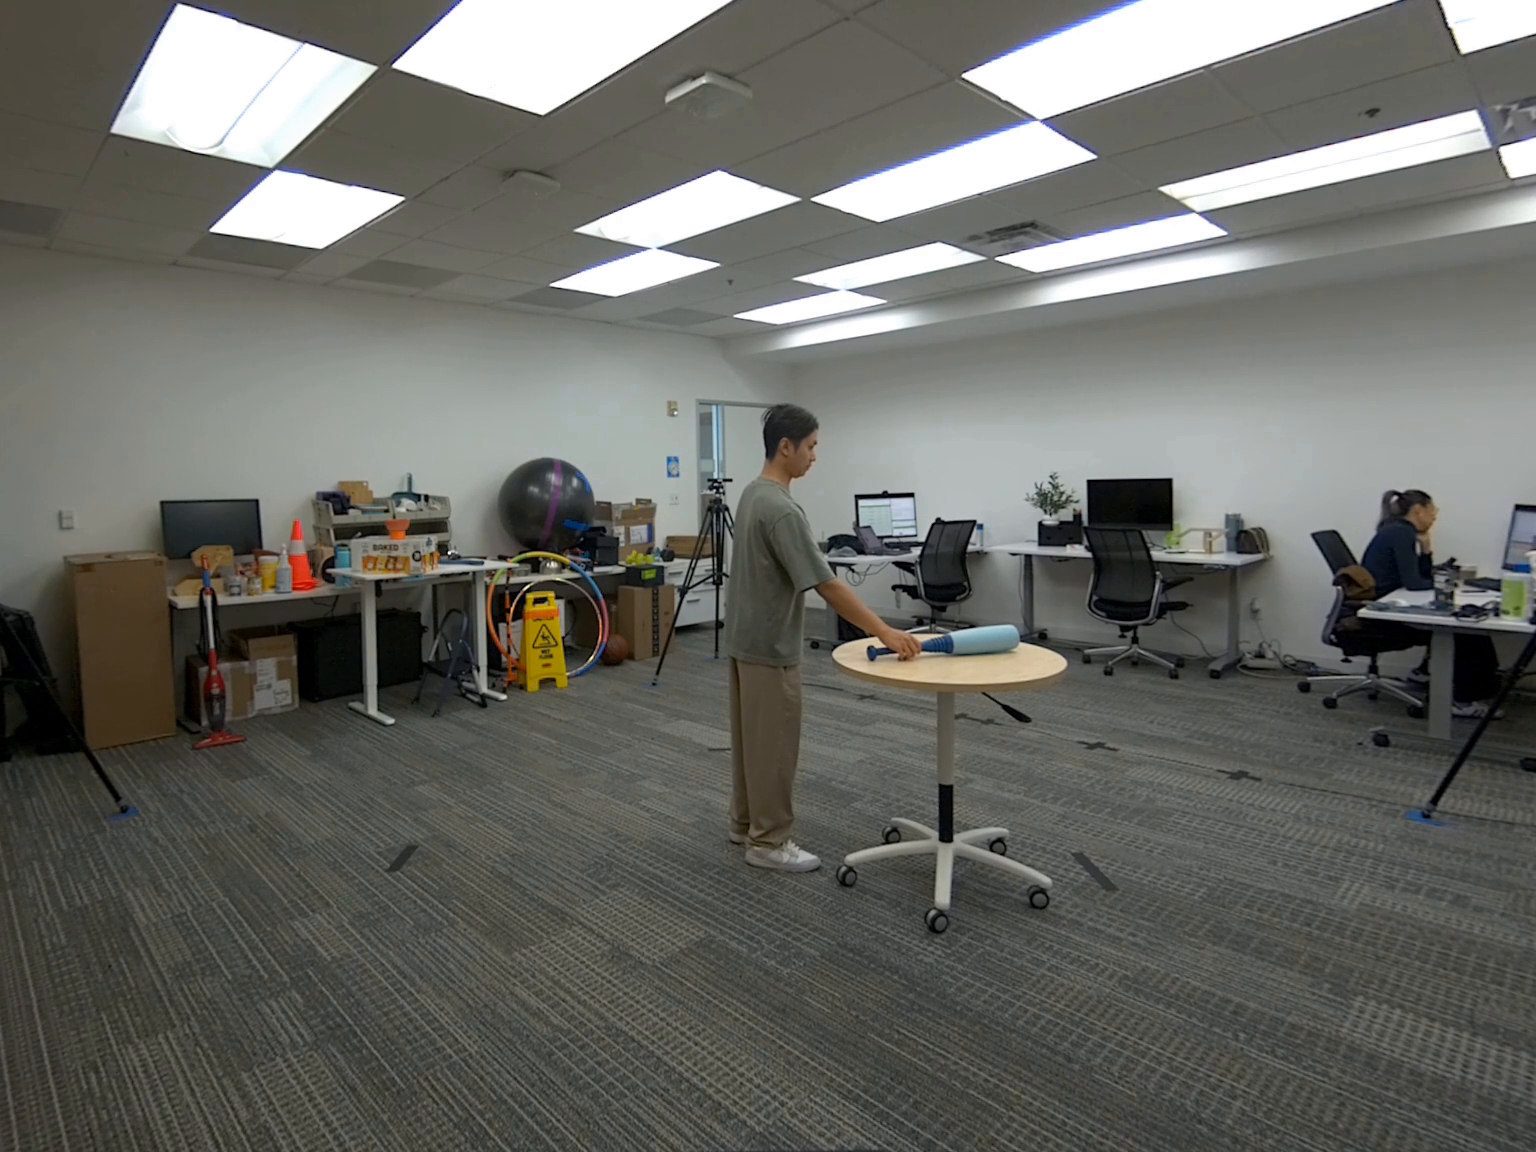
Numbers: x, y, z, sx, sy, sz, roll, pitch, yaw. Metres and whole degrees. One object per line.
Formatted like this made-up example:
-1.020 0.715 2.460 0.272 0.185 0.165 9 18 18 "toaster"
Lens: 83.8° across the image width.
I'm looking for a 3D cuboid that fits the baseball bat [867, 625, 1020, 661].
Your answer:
0.598 0.233 2.902 0.537 0.088 0.090 -6 6 -12 "baseball bat"
